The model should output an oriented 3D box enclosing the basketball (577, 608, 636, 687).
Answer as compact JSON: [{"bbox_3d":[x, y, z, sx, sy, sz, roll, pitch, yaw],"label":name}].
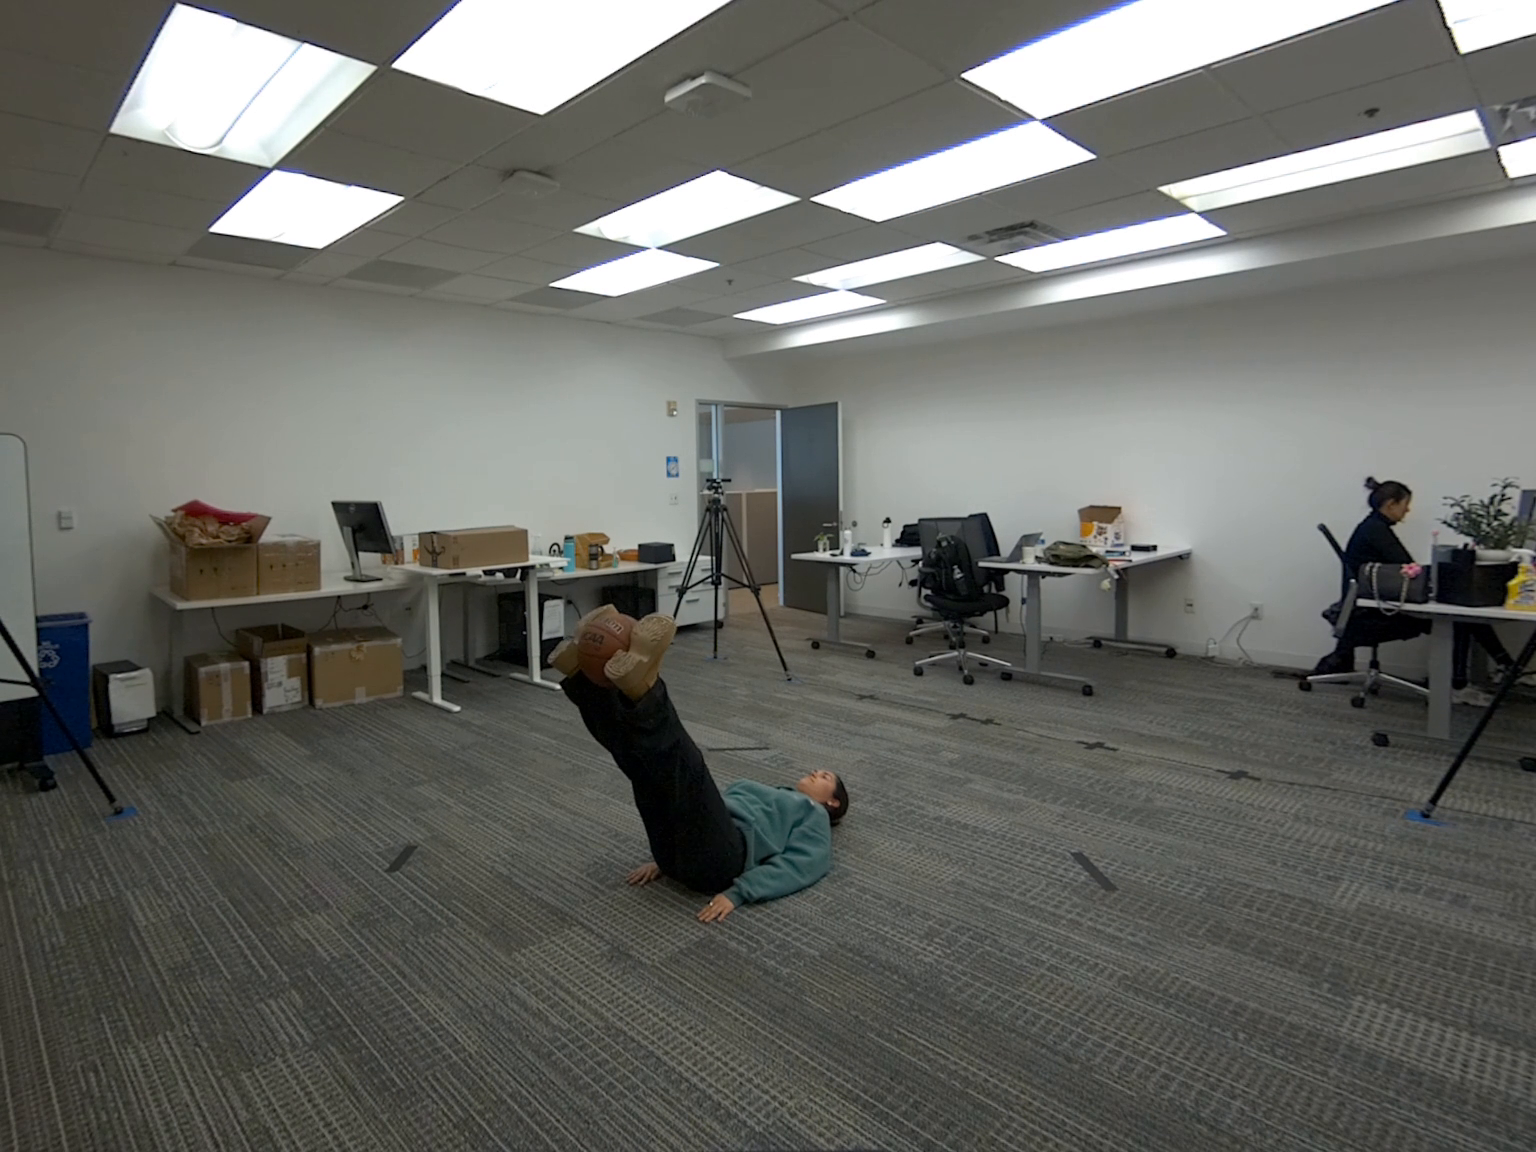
[{"bbox_3d":[-0.490,0.241,2.705,0.236,0.235,0.237,-1,4,-2],"label":"basketball"}]
